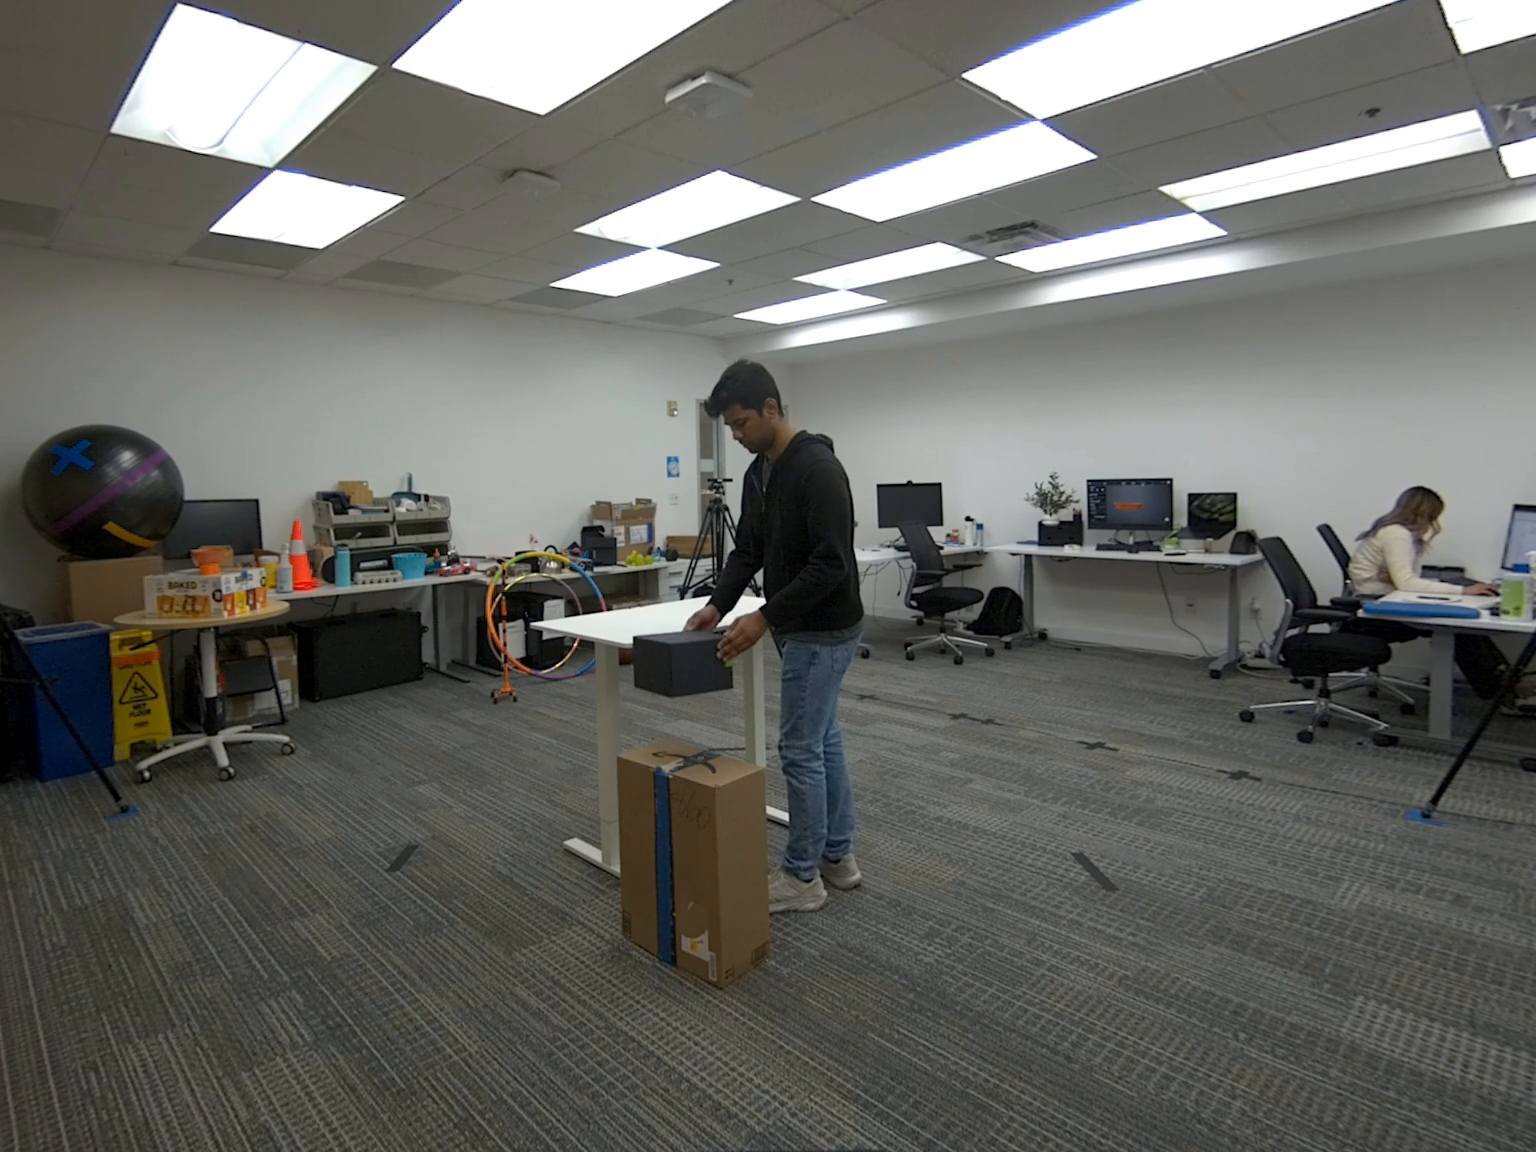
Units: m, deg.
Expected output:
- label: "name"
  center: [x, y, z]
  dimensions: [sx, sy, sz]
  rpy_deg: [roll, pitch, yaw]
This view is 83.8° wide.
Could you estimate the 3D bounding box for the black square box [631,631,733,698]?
- label: "black square box"
  center: [-0.260, 0.257, 2.559]
  dimensions: [0.211, 0.156, 0.234]
  rpy_deg: [-2, 2, -36]
